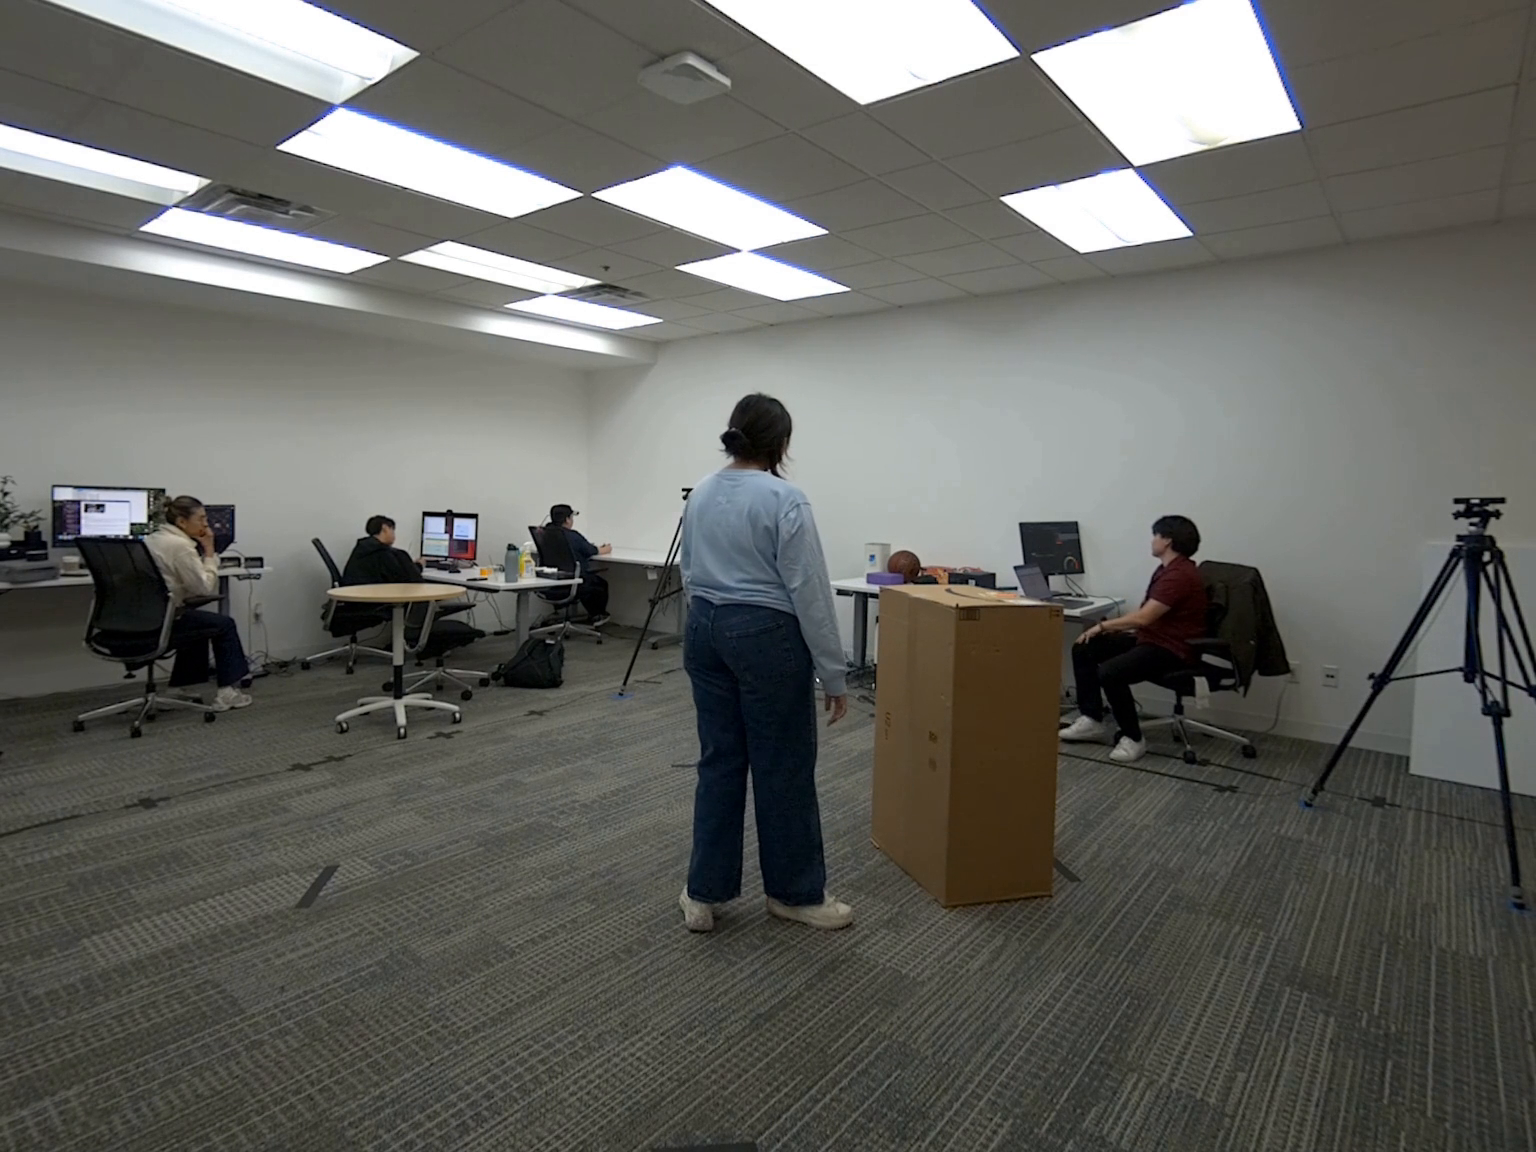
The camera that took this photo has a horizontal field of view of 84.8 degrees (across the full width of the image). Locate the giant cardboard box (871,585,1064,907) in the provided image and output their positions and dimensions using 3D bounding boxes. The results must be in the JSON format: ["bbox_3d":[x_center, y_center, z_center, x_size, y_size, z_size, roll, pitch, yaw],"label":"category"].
[{"bbox_3d":[0.712,0.574,3.164,0.418,1.023,0.590,1,3,-18],"label":"giant cardboard box"}]
